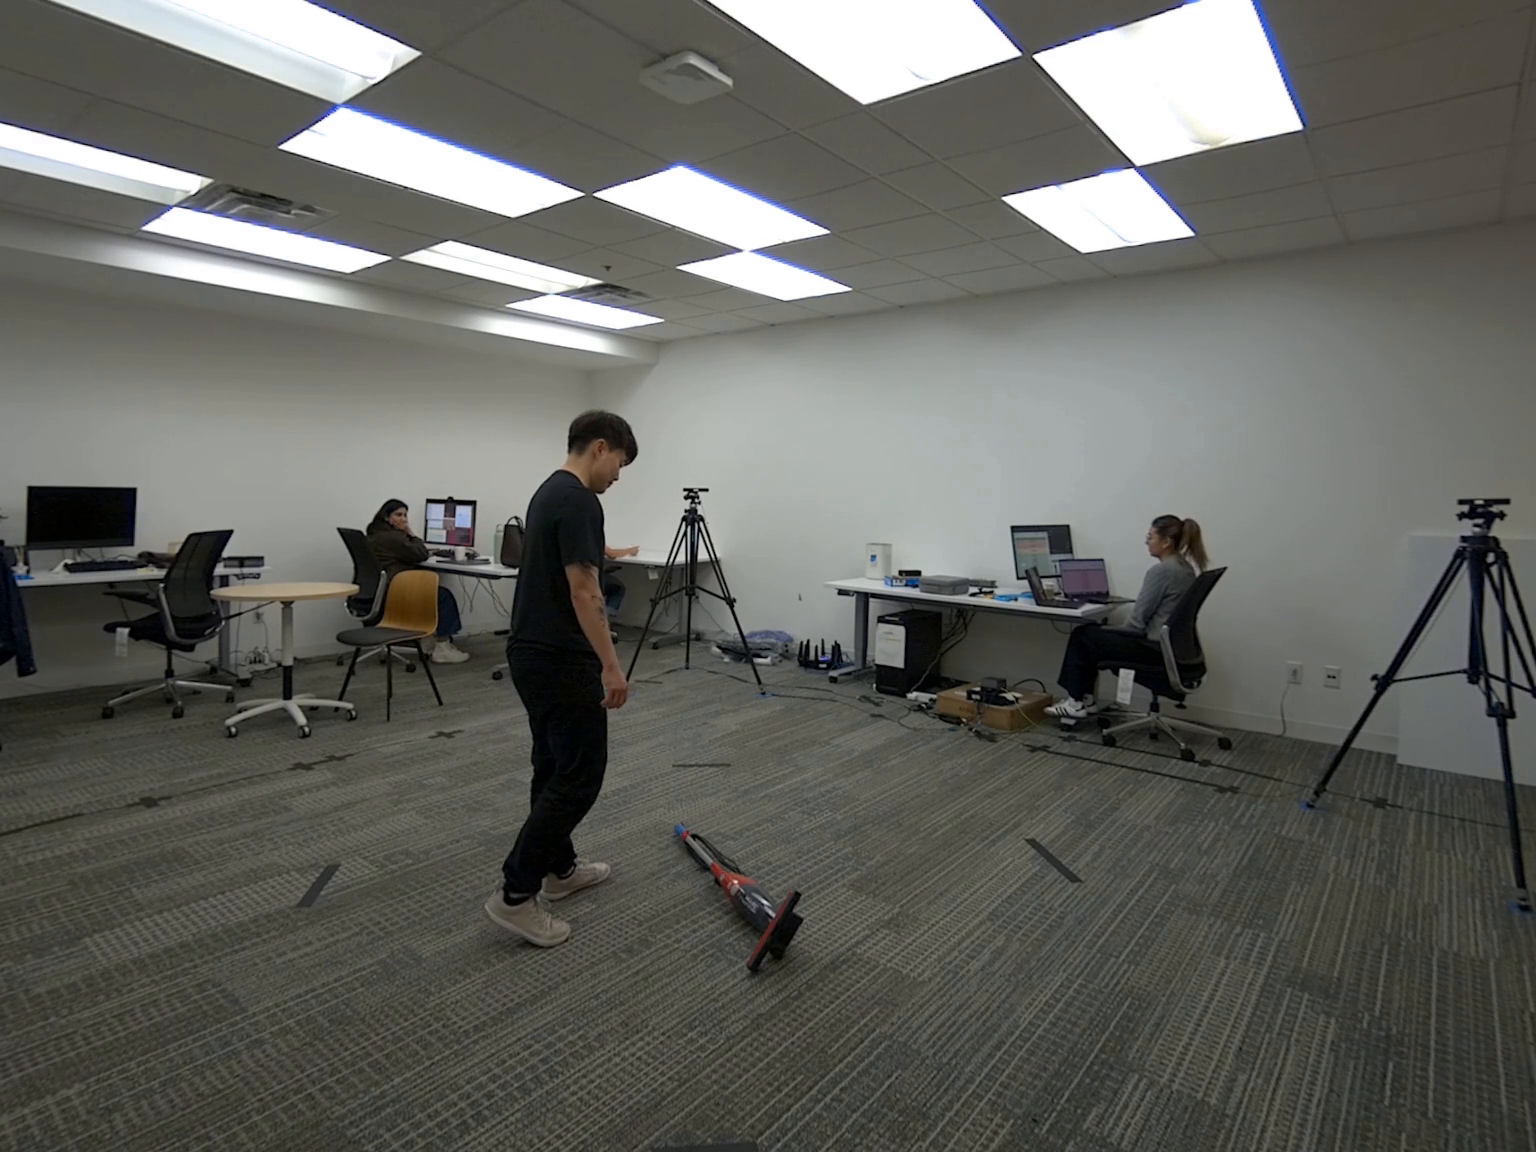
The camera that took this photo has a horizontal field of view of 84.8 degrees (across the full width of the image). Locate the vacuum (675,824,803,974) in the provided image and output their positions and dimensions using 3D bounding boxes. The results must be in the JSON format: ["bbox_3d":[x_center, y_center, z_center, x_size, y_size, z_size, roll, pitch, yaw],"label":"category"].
[{"bbox_3d":[-0.166,1.034,2.980,0.141,0.253,1.070,38,-12,-18],"label":"vacuum"}]
